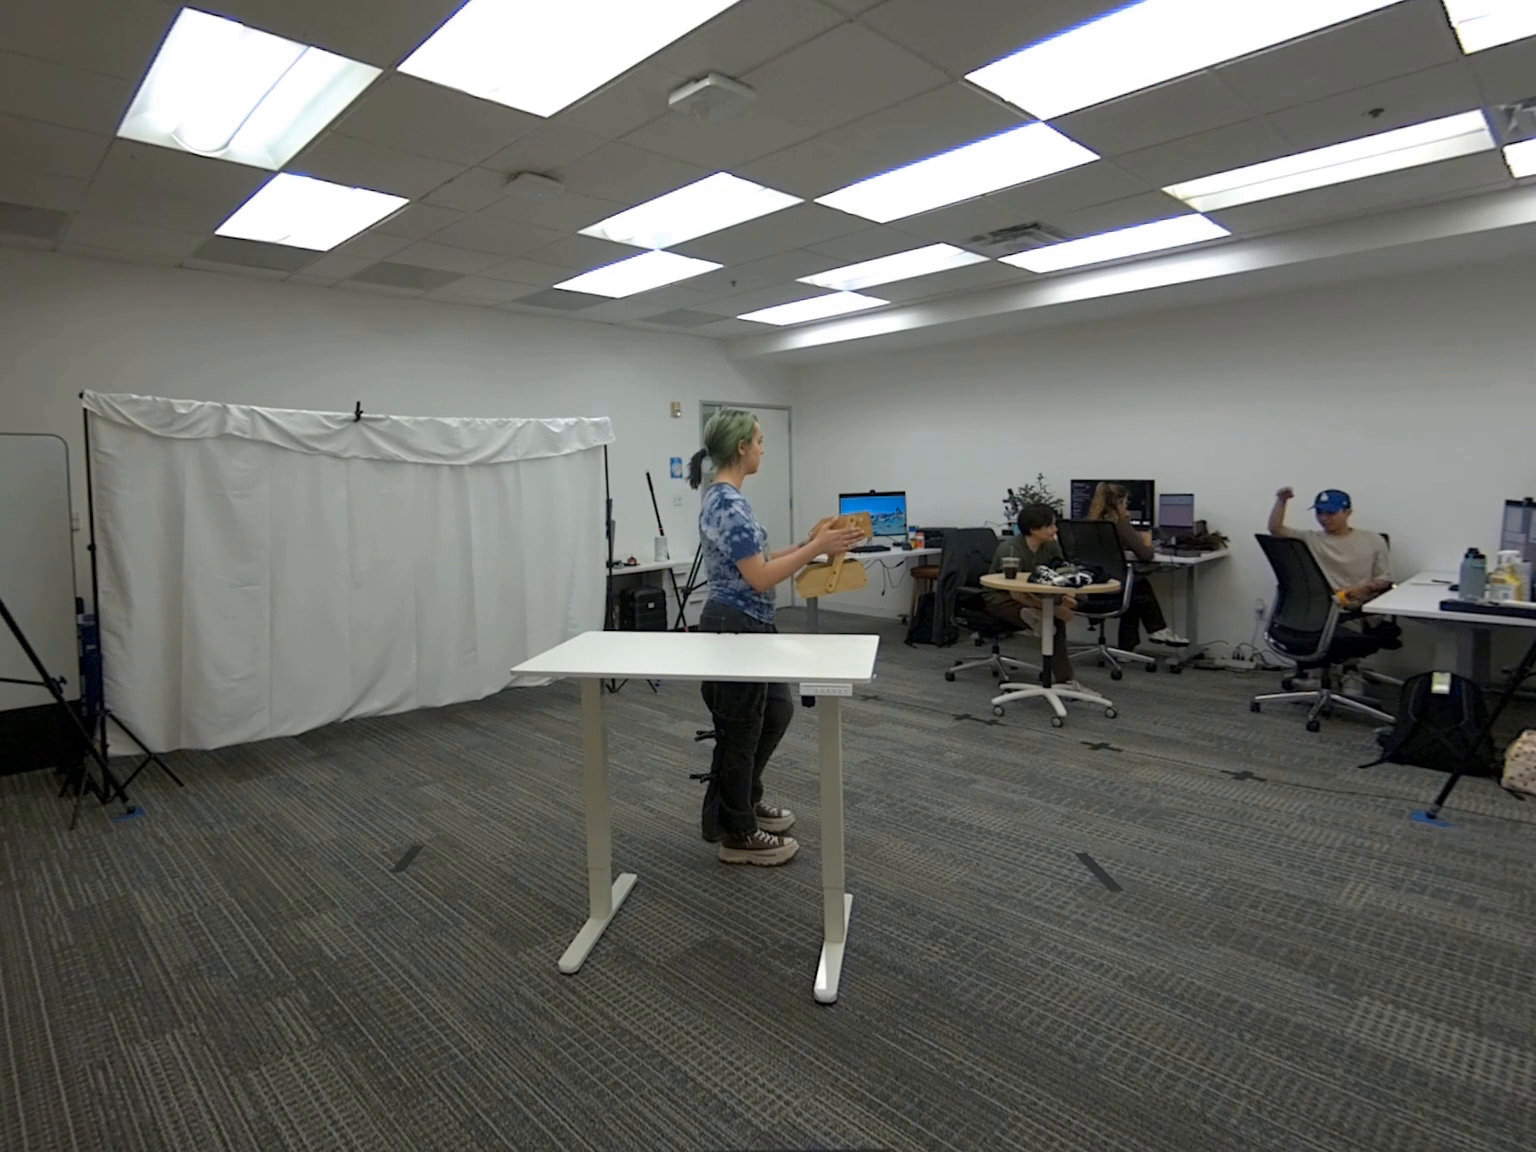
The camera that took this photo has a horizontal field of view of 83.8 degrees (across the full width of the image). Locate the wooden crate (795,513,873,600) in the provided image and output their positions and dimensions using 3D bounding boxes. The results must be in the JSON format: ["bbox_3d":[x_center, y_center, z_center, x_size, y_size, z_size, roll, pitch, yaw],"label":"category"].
[{"bbox_3d":[0.229,-0.081,3.138,0.303,0.273,0.323,-10,0,5],"label":"wooden crate"}]
